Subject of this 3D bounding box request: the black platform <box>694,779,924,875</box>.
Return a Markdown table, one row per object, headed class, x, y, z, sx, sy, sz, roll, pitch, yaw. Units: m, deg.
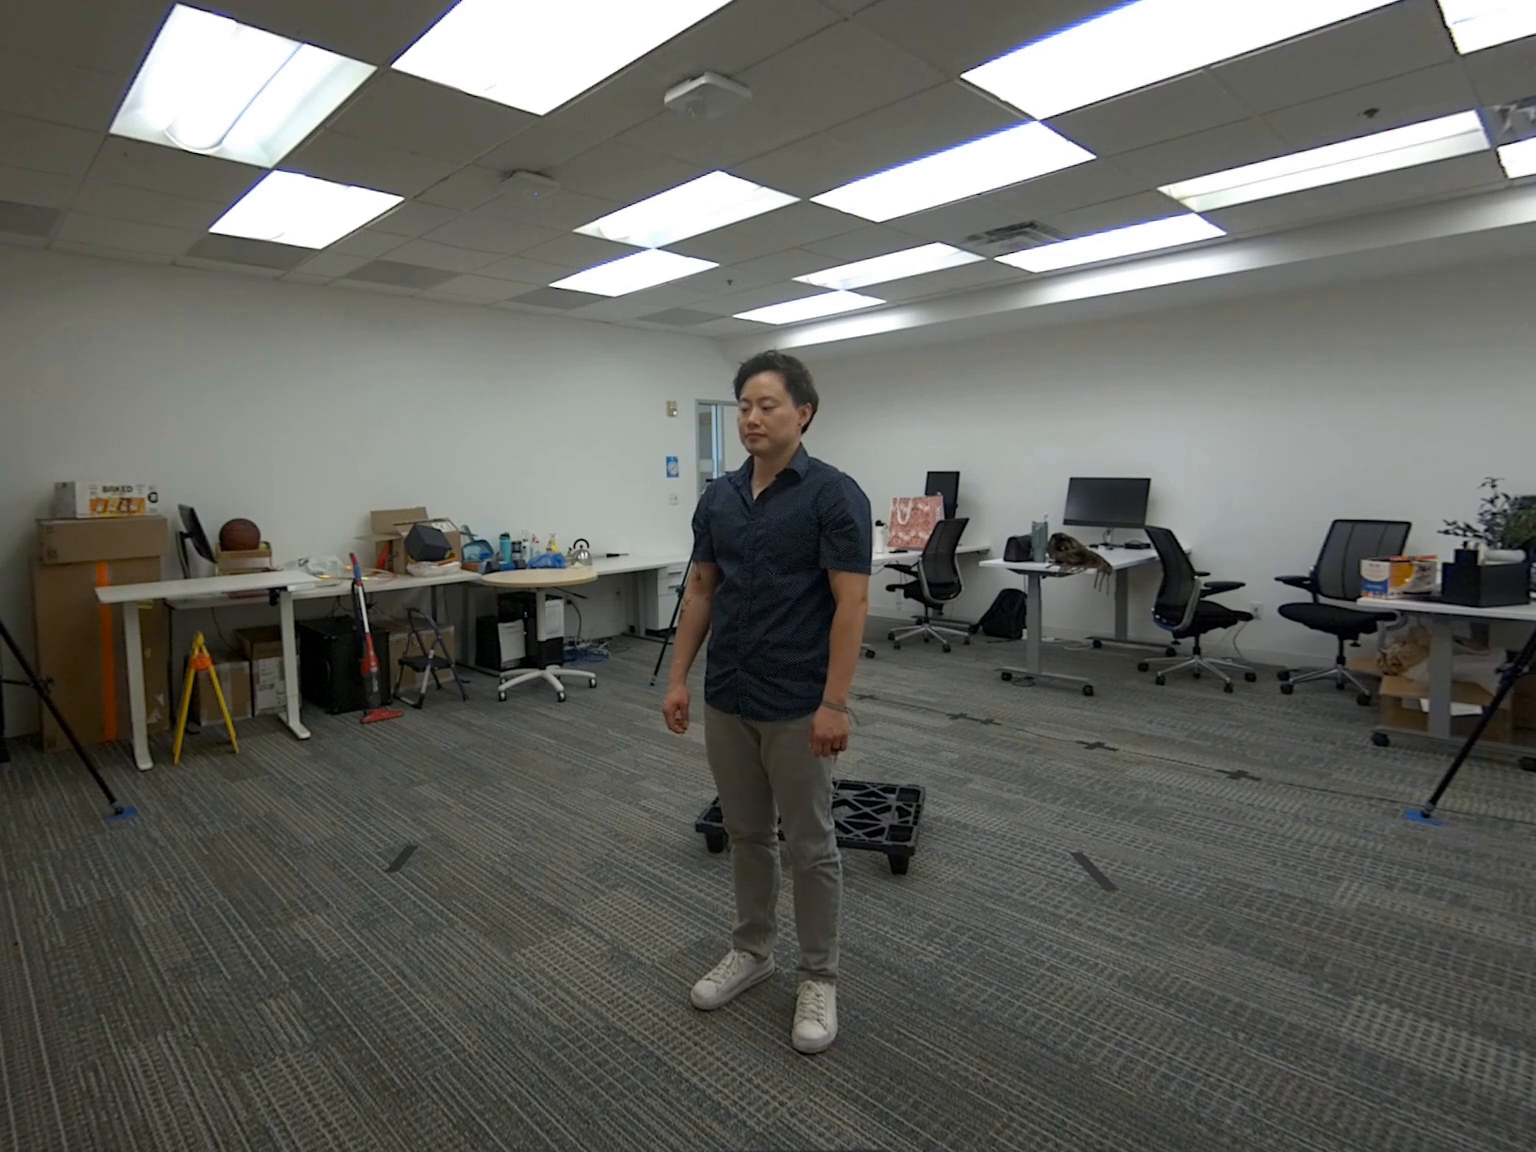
| class | x | y | z | sx | sy | sz | roll | pitch | yaw |
| --- | --- | --- | --- | --- | --- | --- | --- | --- | --- |
| black platform | 0.184 | 0.949 | 3.322 | 0.819 | 0.143 | 0.598 | 1 | 6 | 16 |
